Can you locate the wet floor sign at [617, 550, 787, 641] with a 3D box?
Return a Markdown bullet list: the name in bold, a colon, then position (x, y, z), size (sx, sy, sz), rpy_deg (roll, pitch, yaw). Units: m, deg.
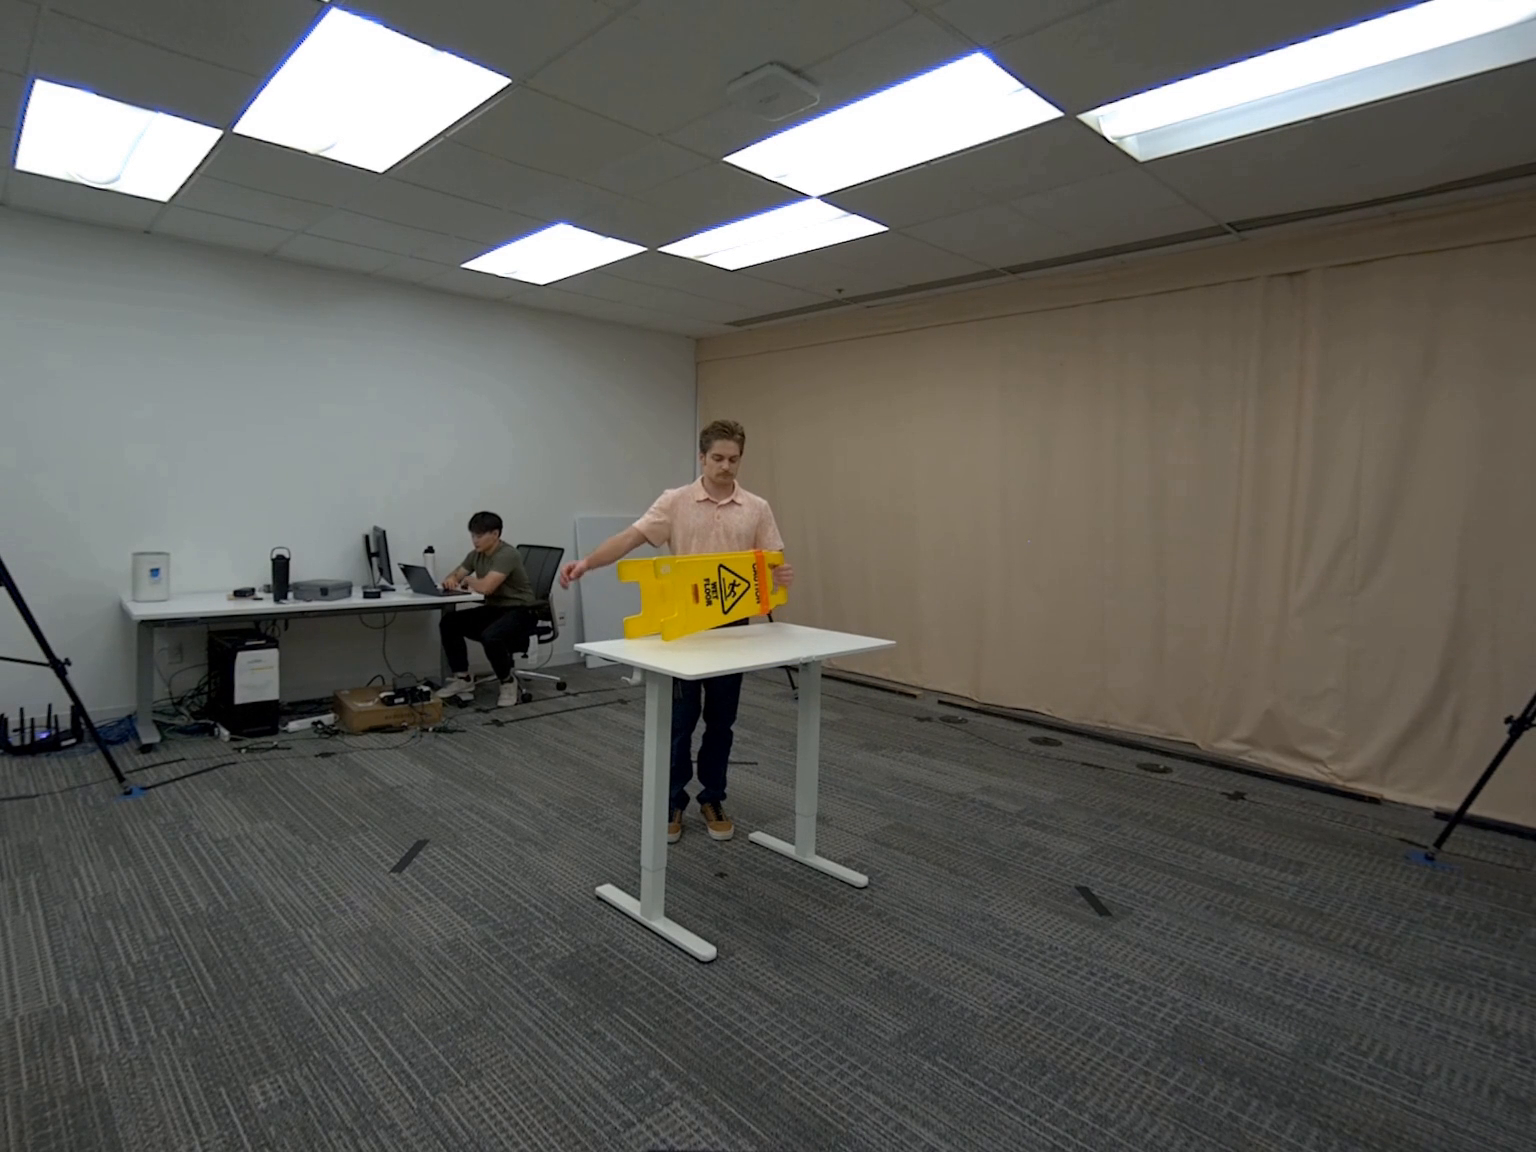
- **wet floor sign**: position (-0.196, 0.047, 3.033), size (0.633, 0.282, 0.296), rpy_deg (-9, 4, -36)
